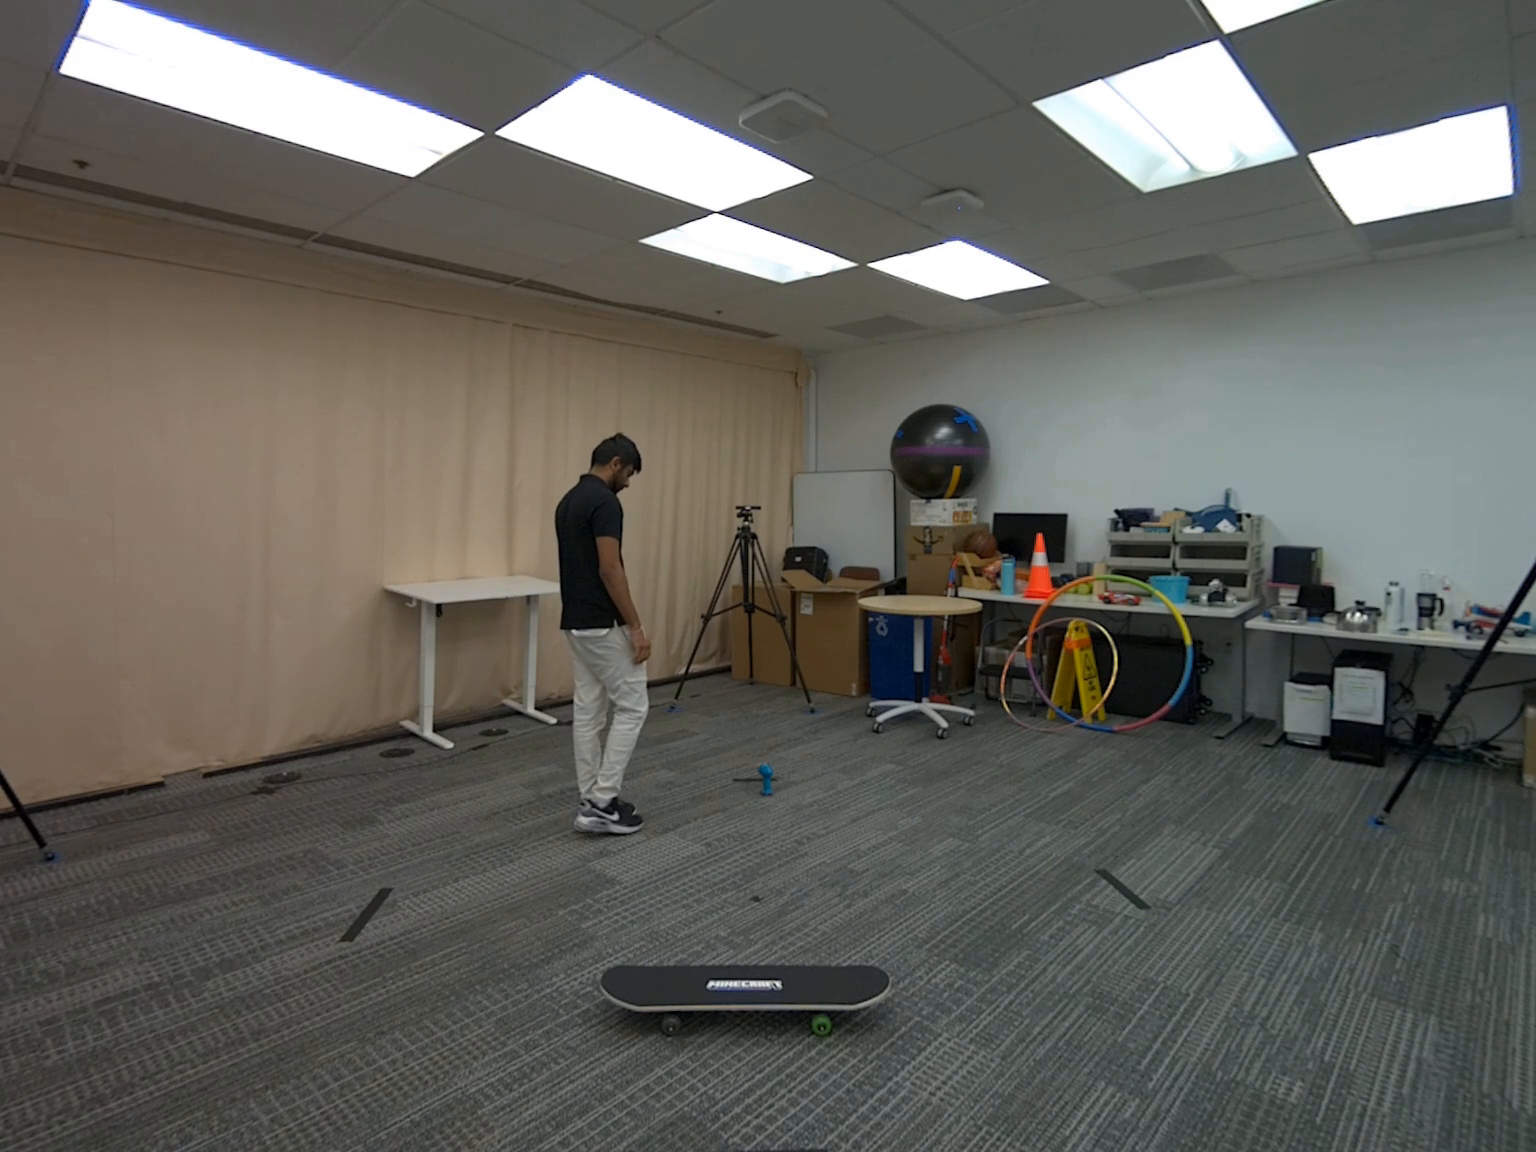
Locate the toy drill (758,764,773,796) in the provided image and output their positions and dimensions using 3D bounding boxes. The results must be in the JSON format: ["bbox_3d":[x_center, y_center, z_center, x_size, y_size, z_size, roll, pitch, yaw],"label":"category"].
[{"bbox_3d":[-0.018,0.986,4.124,0.060,0.146,0.173,0,-1,-19],"label":"toy drill"}]
